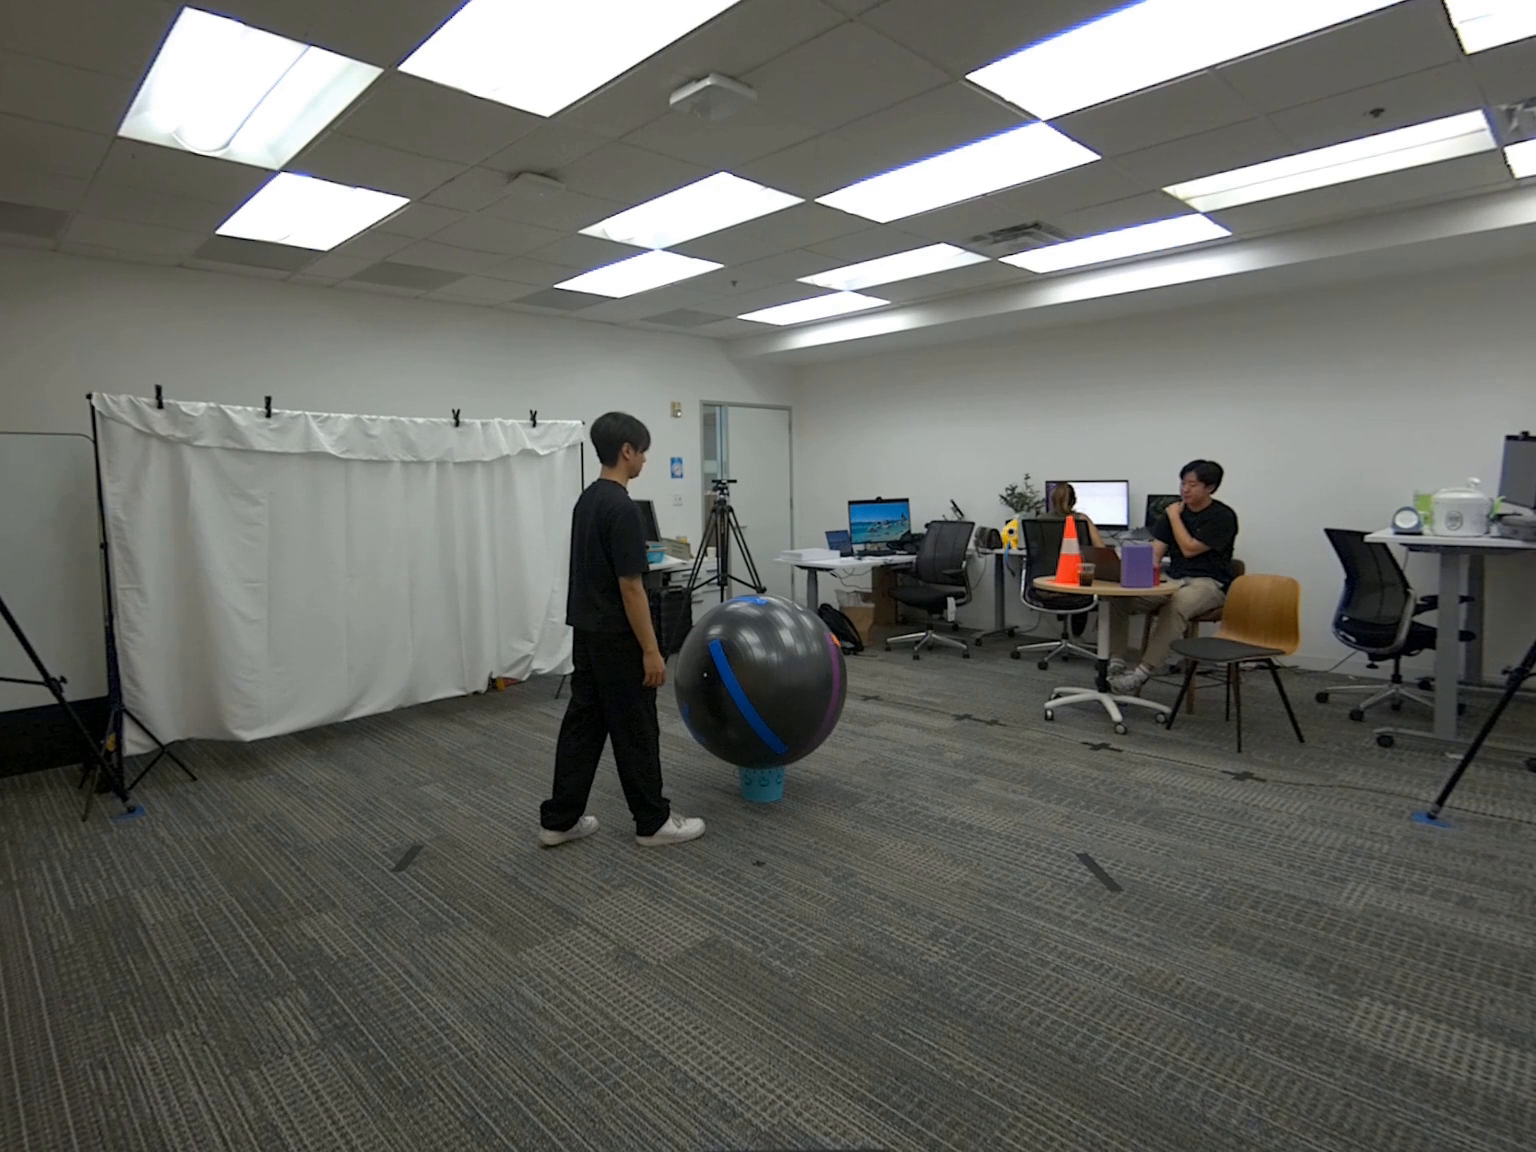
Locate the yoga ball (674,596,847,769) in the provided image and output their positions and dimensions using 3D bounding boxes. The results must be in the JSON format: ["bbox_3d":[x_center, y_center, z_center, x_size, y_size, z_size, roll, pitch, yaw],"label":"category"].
[{"bbox_3d":[-0.027,0.461,3.768,0.757,0.755,0.762,-1,5,-2],"label":"yoga ball"}]
